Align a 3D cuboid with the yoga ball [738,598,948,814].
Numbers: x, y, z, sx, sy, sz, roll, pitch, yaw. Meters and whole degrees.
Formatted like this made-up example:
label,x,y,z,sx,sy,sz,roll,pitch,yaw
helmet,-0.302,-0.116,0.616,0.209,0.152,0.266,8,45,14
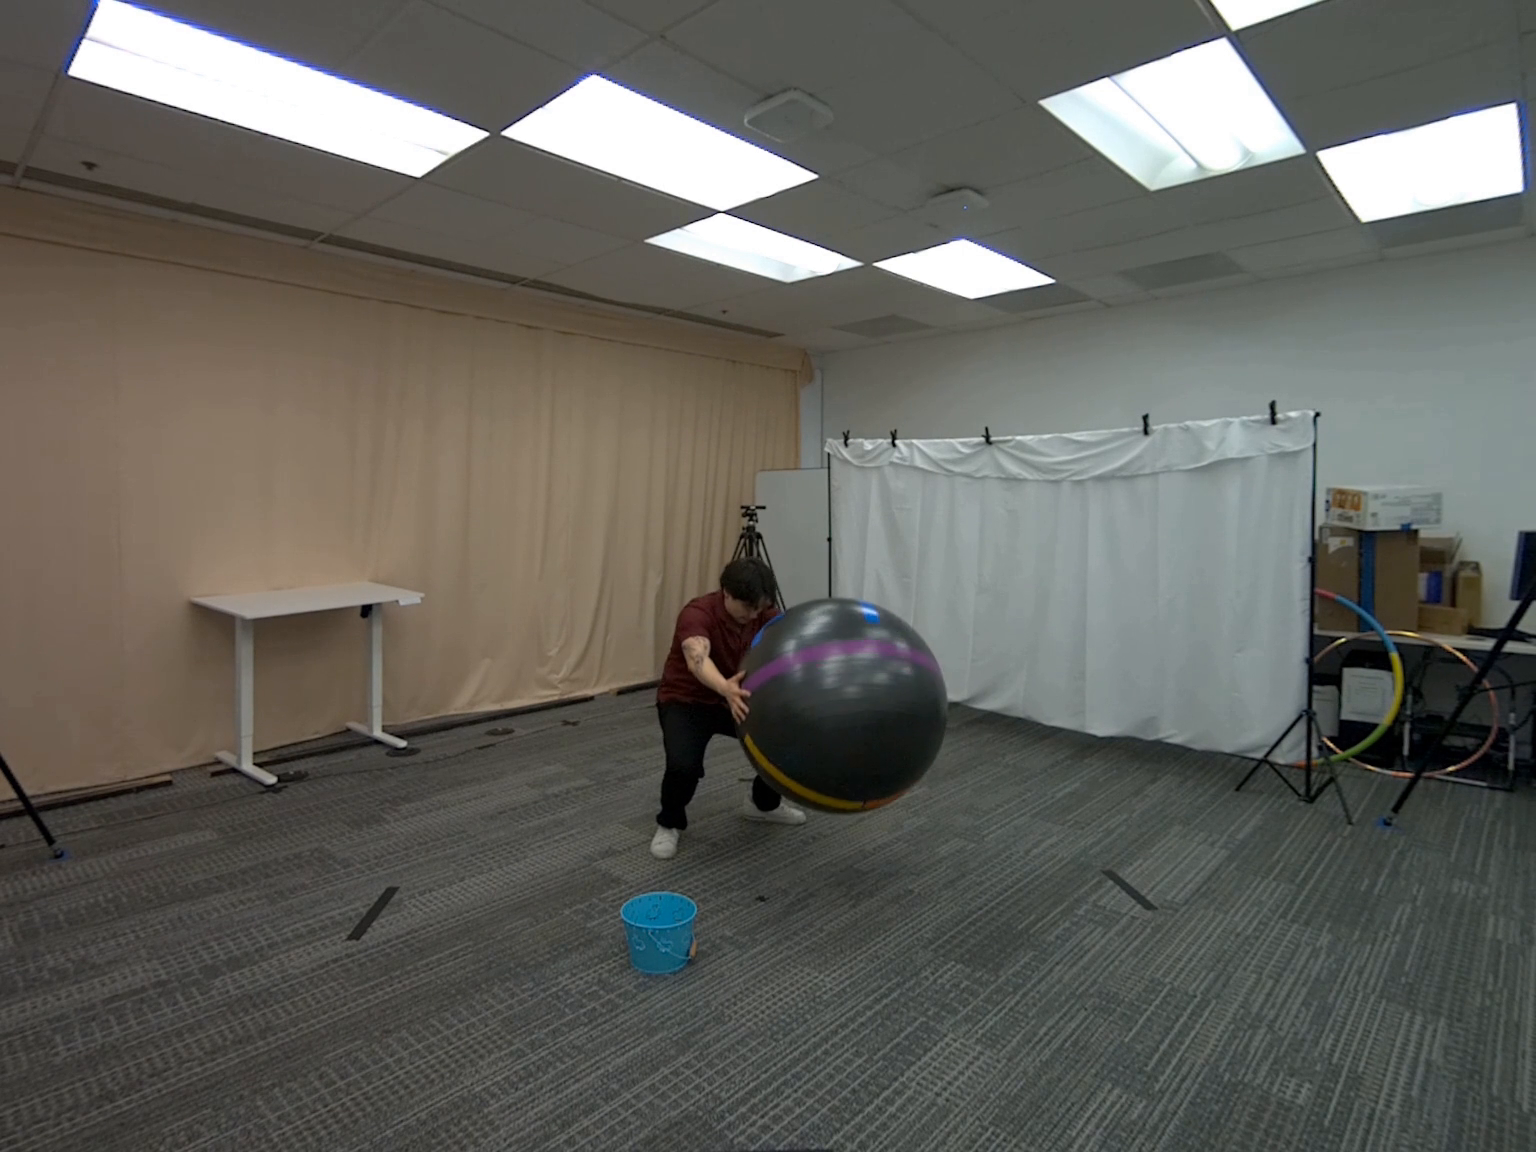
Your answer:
label,x,y,z,sx,sy,sz,roll,pitch,yaw
yoga ball,0.257,0.456,3.025,0.757,0.756,0.760,0,4,-2
